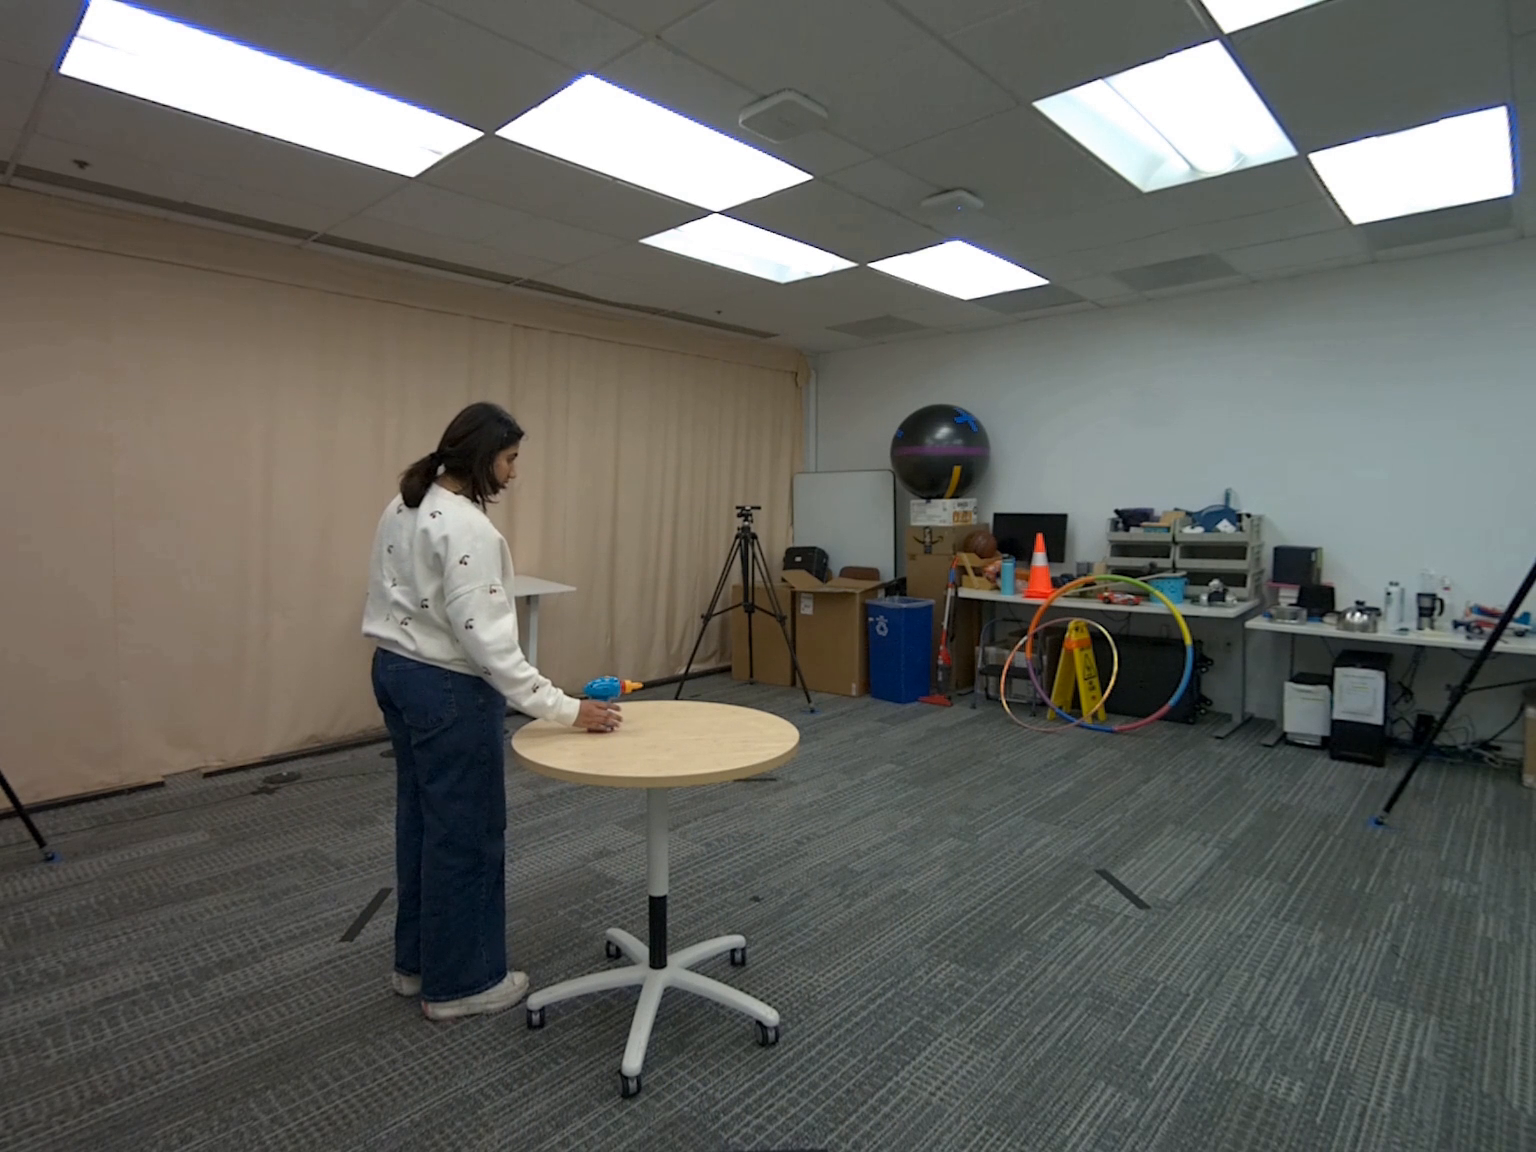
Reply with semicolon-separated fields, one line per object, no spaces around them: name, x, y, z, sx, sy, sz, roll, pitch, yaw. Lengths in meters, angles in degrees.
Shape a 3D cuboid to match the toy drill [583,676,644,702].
toy drill;-0.426;0.350;2.293;0.166;0.146;0.062;-3;1;-24
